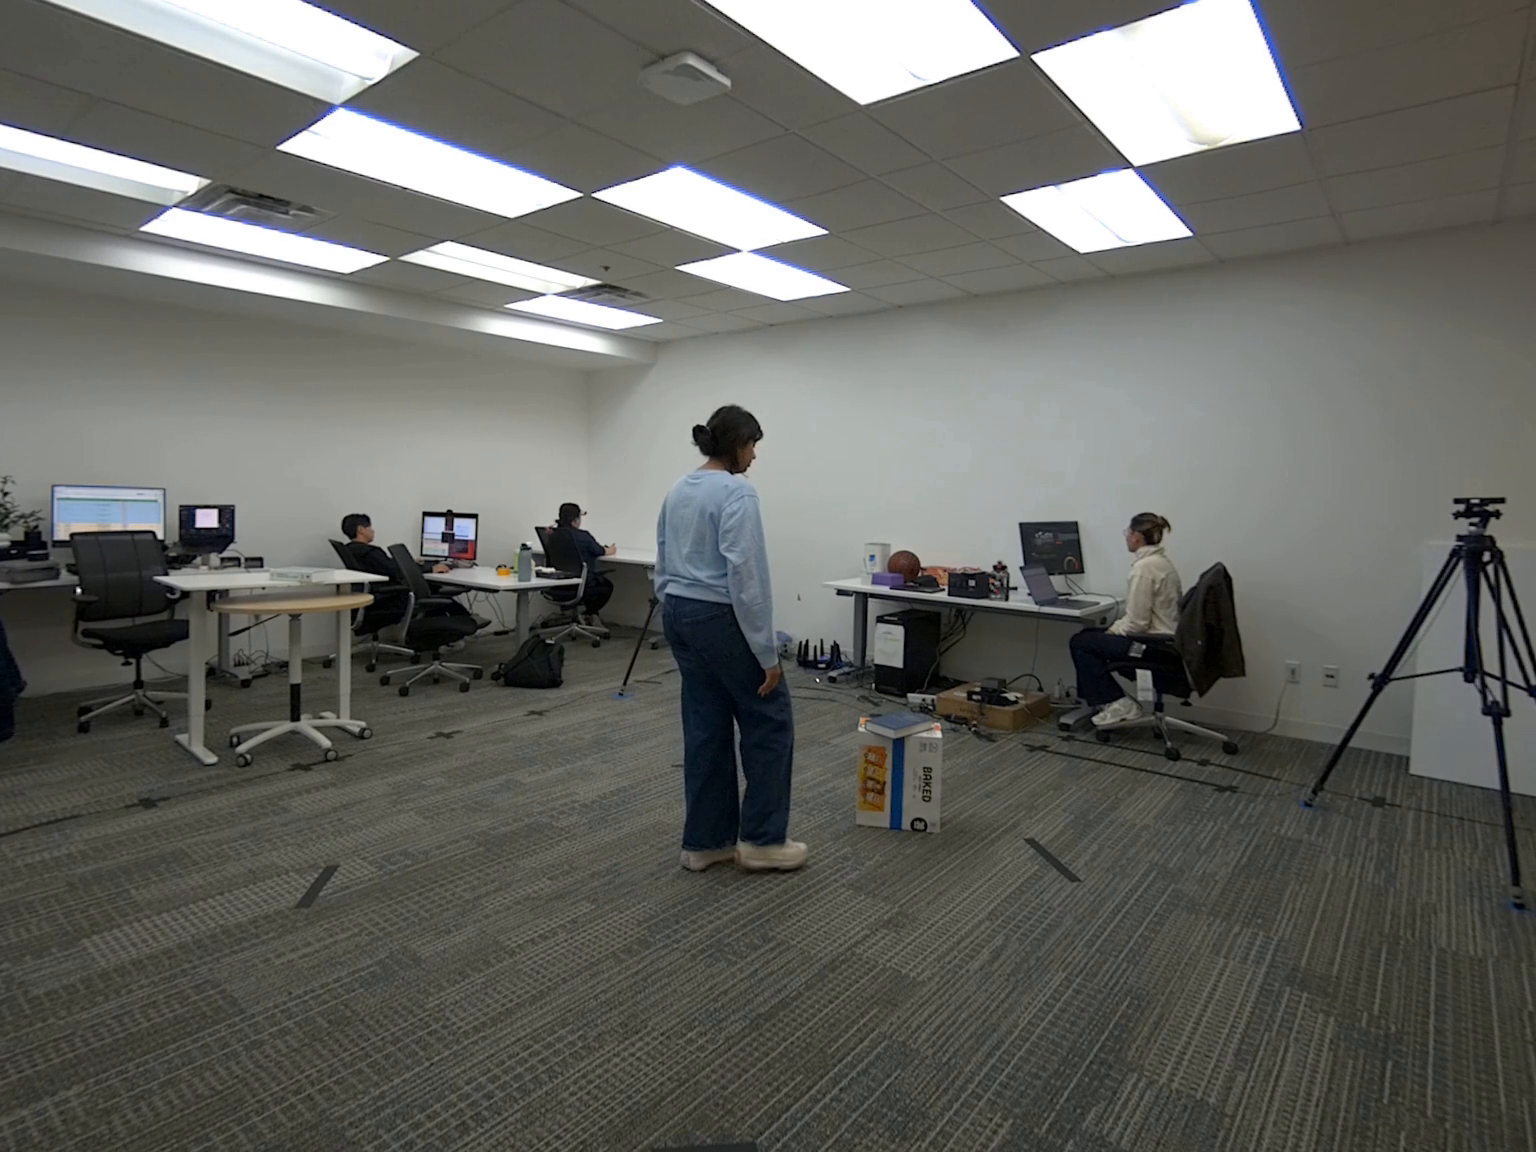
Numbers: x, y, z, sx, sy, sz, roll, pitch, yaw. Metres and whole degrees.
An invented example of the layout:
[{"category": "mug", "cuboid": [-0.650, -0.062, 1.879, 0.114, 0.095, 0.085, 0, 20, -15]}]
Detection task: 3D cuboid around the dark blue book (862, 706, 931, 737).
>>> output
[{"category": "dark blue book", "cuboid": [0.543, 0.612, 3.562, 0.238, 0.045, 0.169, -5, 9, -39]}]
